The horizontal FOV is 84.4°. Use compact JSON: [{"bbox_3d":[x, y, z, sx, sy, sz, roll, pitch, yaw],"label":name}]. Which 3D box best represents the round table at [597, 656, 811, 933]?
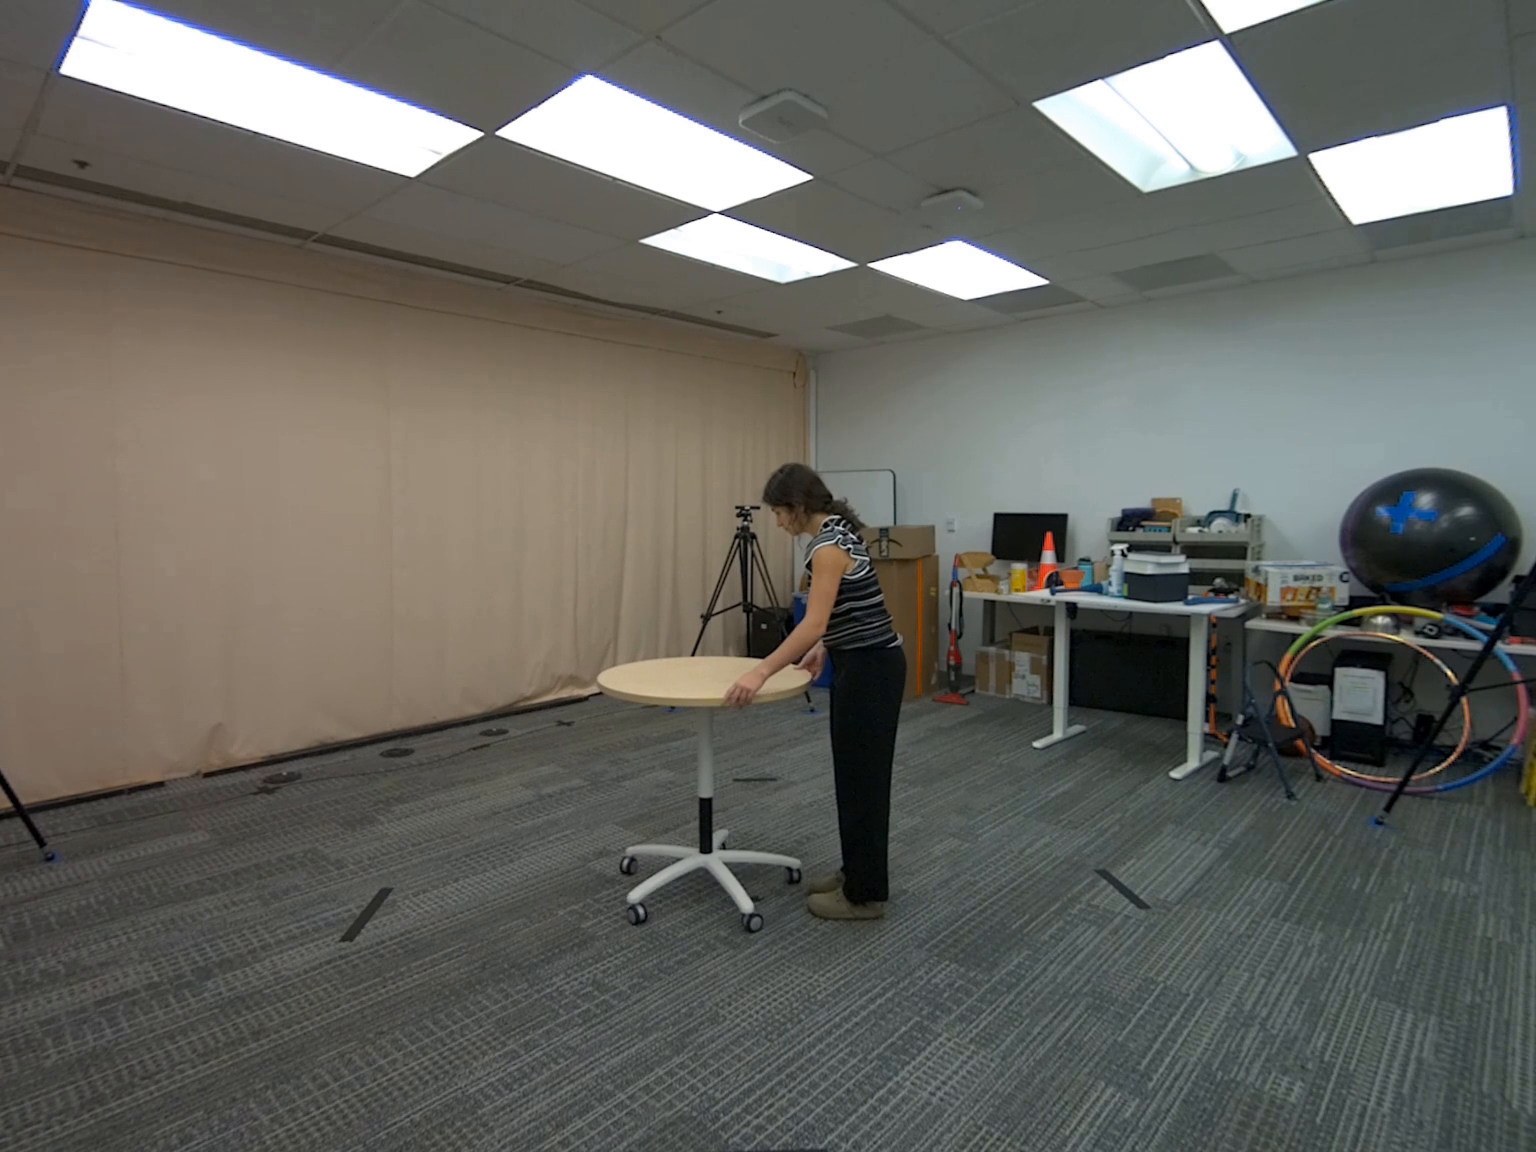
[{"bbox_3d":[-0.214,0.750,3.037,0.784,0.785,0.788,-1,4,-2],"label":"round table"}]
